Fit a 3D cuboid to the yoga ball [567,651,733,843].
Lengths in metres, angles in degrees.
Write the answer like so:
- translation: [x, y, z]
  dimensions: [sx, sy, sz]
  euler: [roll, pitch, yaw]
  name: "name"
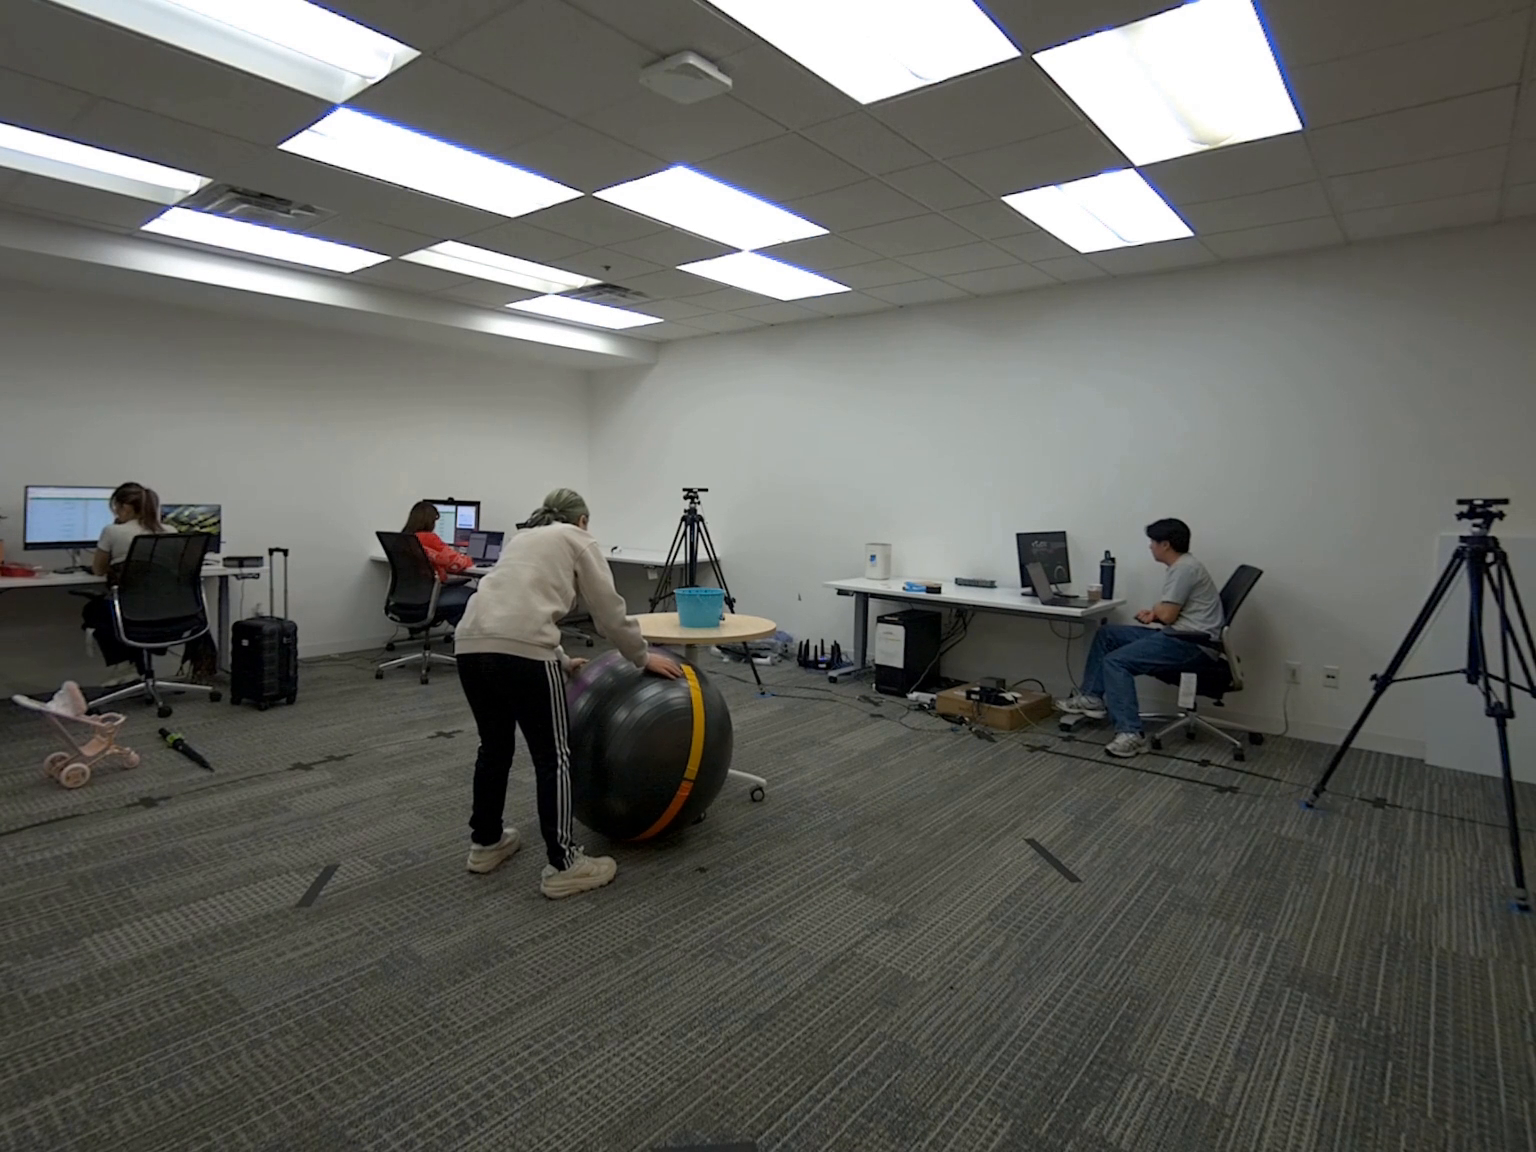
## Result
- translation: [-0.529, 0.665, 3.418]
  dimensions: [0.757, 0.756, 0.761]
  euler: [1, 4, -2]
  name: "yoga ball"
